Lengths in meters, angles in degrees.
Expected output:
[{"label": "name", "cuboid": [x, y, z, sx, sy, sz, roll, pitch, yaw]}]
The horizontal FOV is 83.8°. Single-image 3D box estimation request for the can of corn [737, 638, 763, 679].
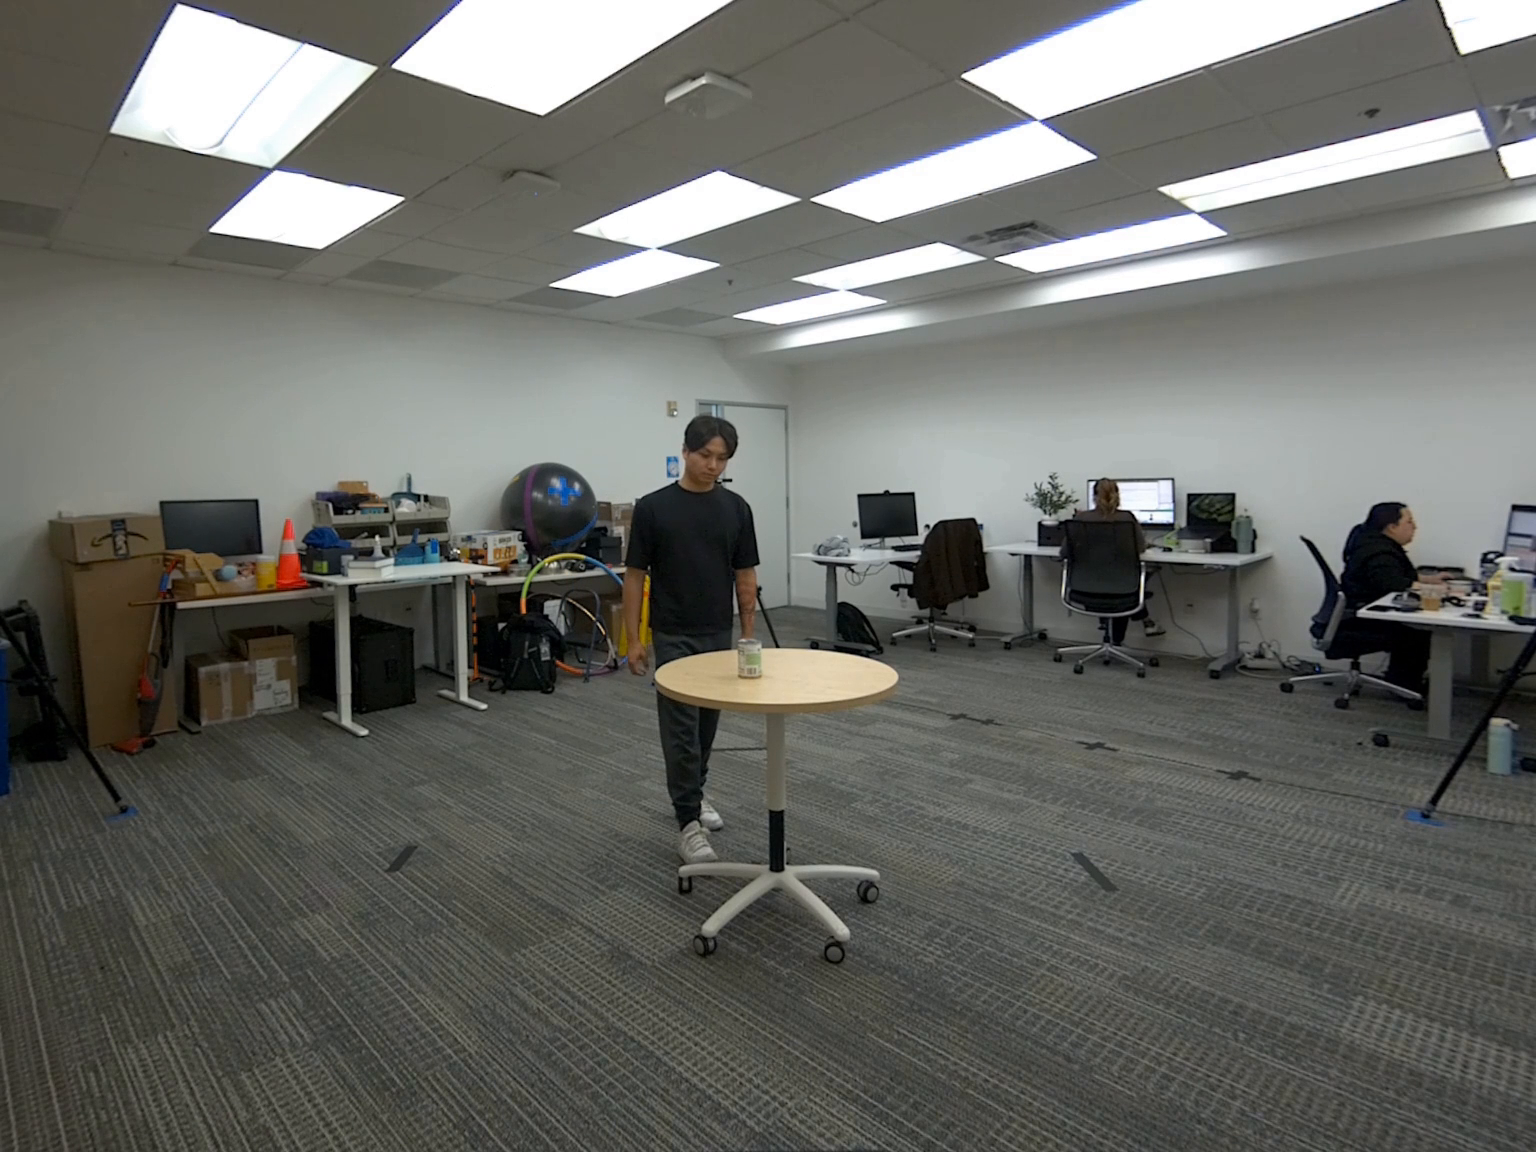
[{"label": "can of corn", "cuboid": [-0.056, 0.261, 2.651, 0.074, 0.110, 0.074, -3, 5, -1]}]
